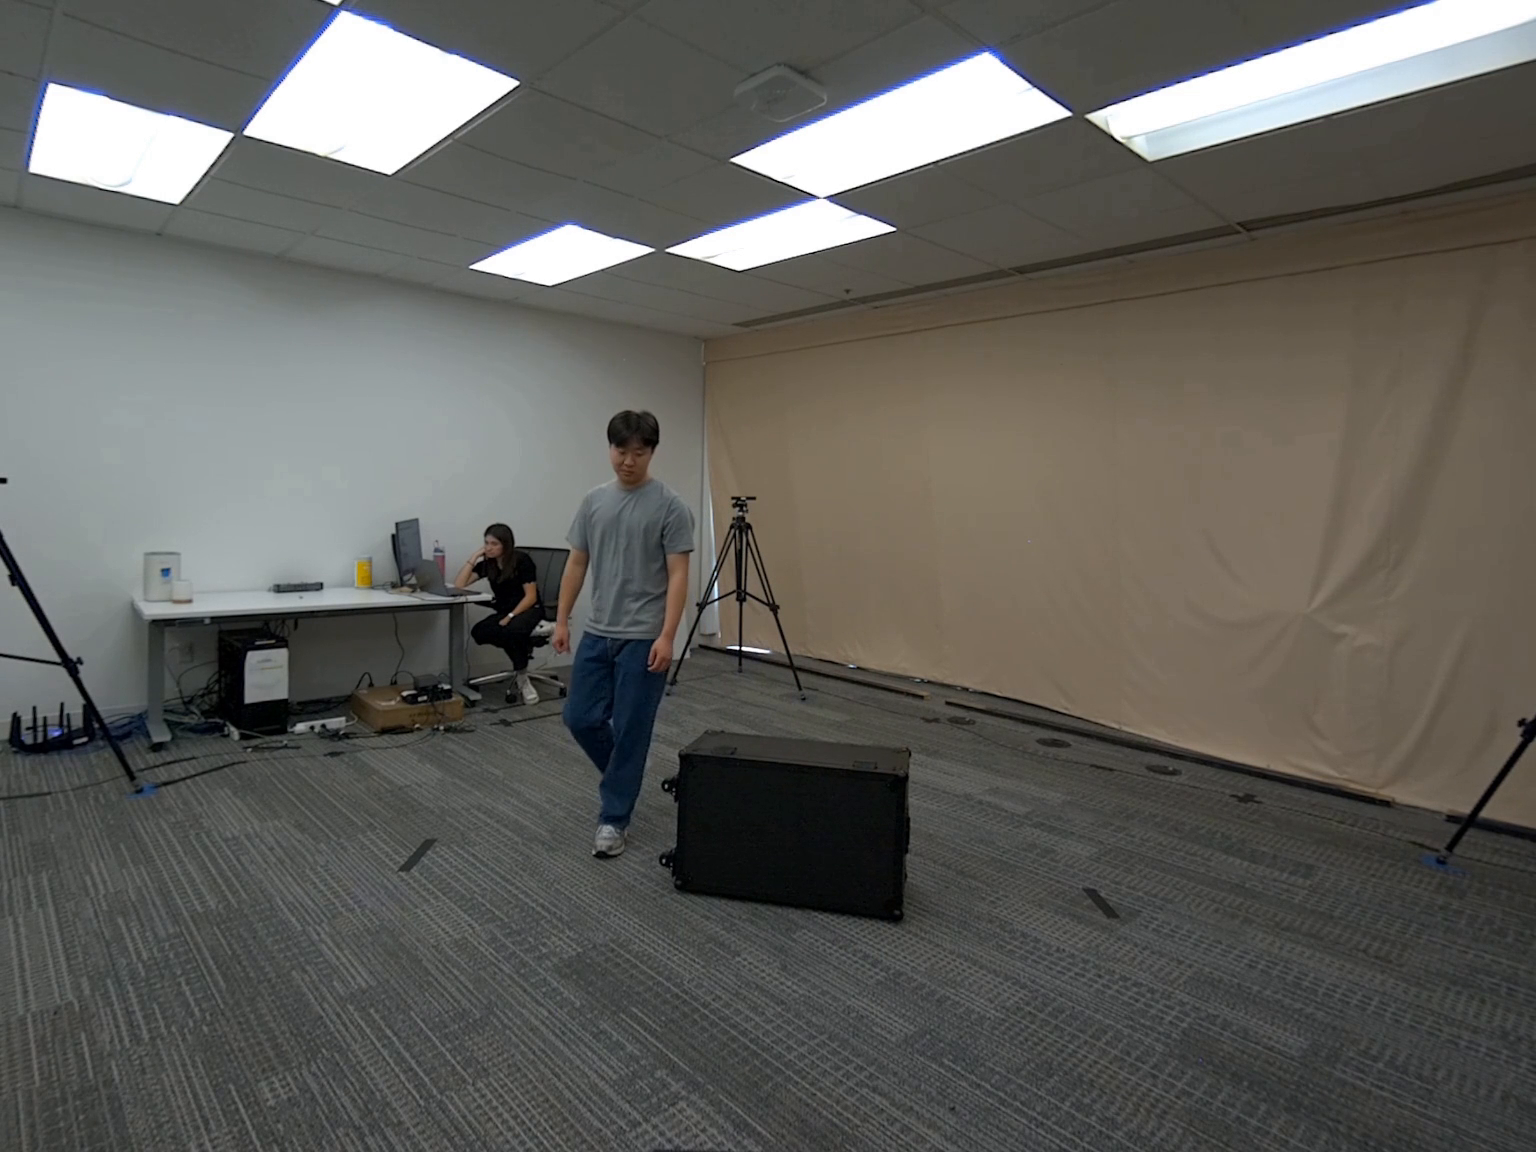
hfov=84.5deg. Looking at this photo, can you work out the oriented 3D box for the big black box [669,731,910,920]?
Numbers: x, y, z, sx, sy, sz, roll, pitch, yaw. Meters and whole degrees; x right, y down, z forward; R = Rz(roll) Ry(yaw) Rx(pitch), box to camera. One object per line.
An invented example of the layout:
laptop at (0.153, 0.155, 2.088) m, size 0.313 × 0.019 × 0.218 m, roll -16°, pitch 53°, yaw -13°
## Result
big black box at (0.124, 0.867, 3.021) m, size 0.872 × 0.520 × 0.392 m, roll 3°, pitch 2°, yaw 14°
